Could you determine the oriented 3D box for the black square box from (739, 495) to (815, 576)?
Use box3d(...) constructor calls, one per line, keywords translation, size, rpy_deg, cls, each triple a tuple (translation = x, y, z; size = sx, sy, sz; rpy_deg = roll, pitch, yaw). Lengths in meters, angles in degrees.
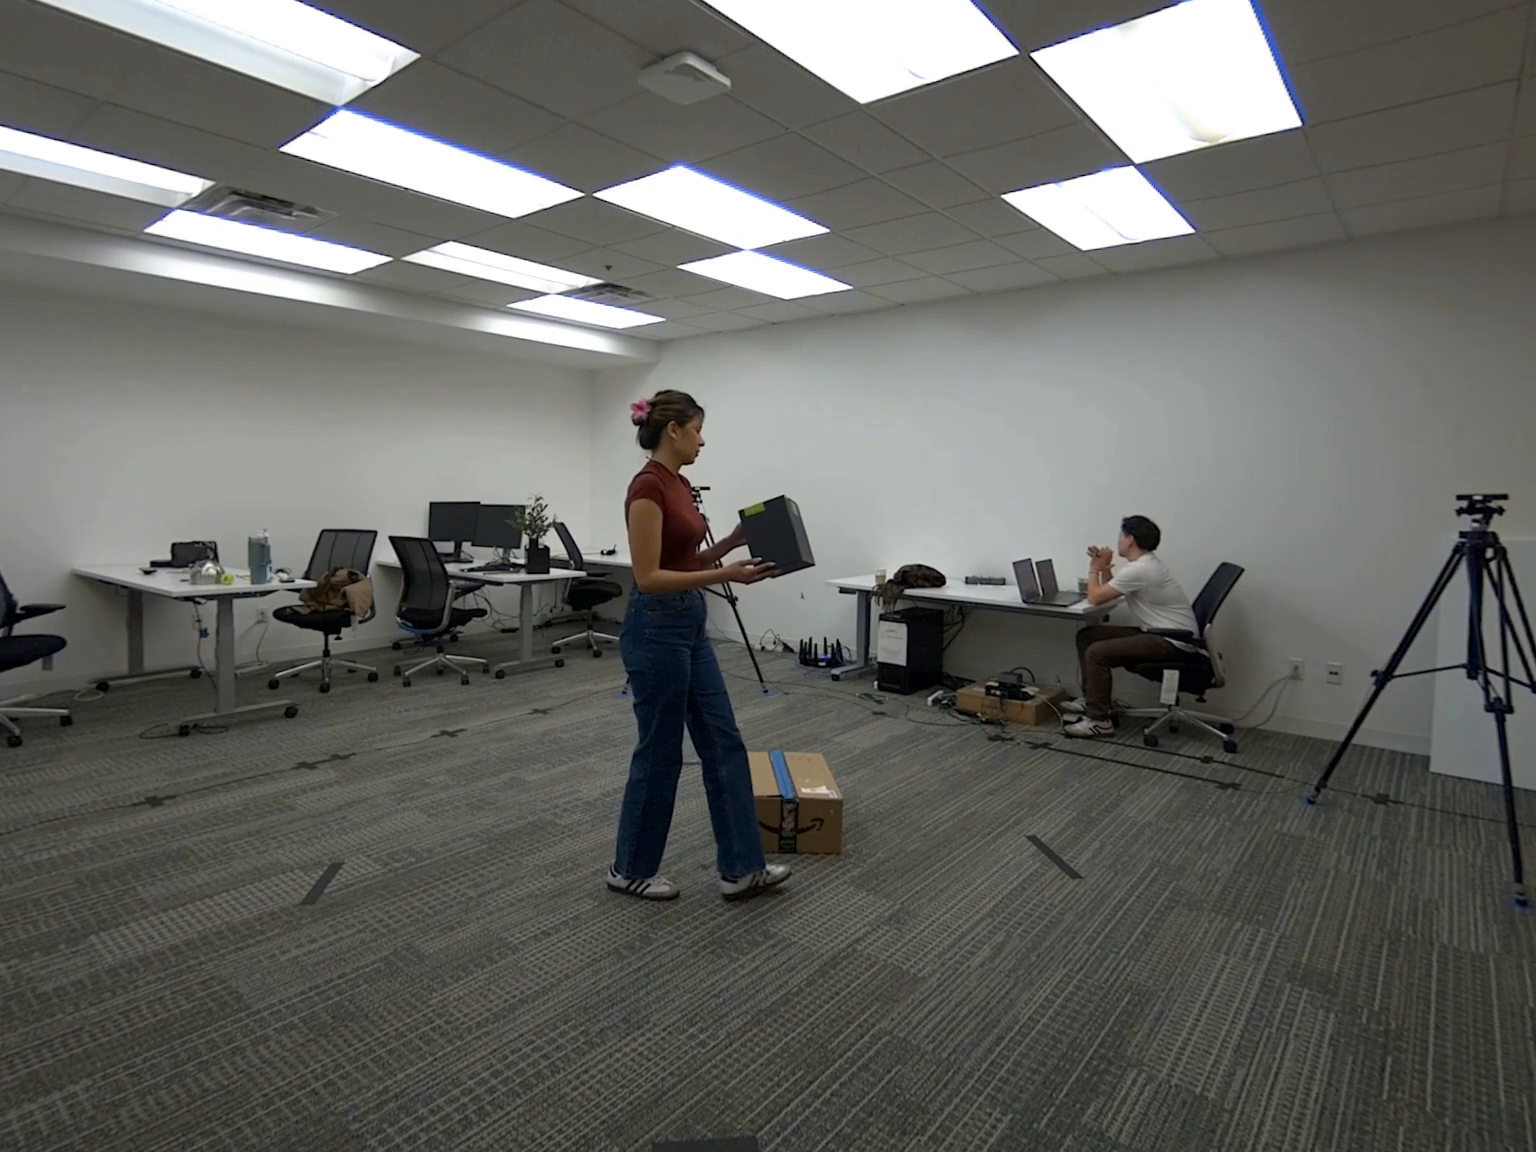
box3d(translation=(0.023, -0.125, 2.729), size=(0.157, 0.220, 0.223), rpy_deg=(-17, -9, 12), cls="black square box")
